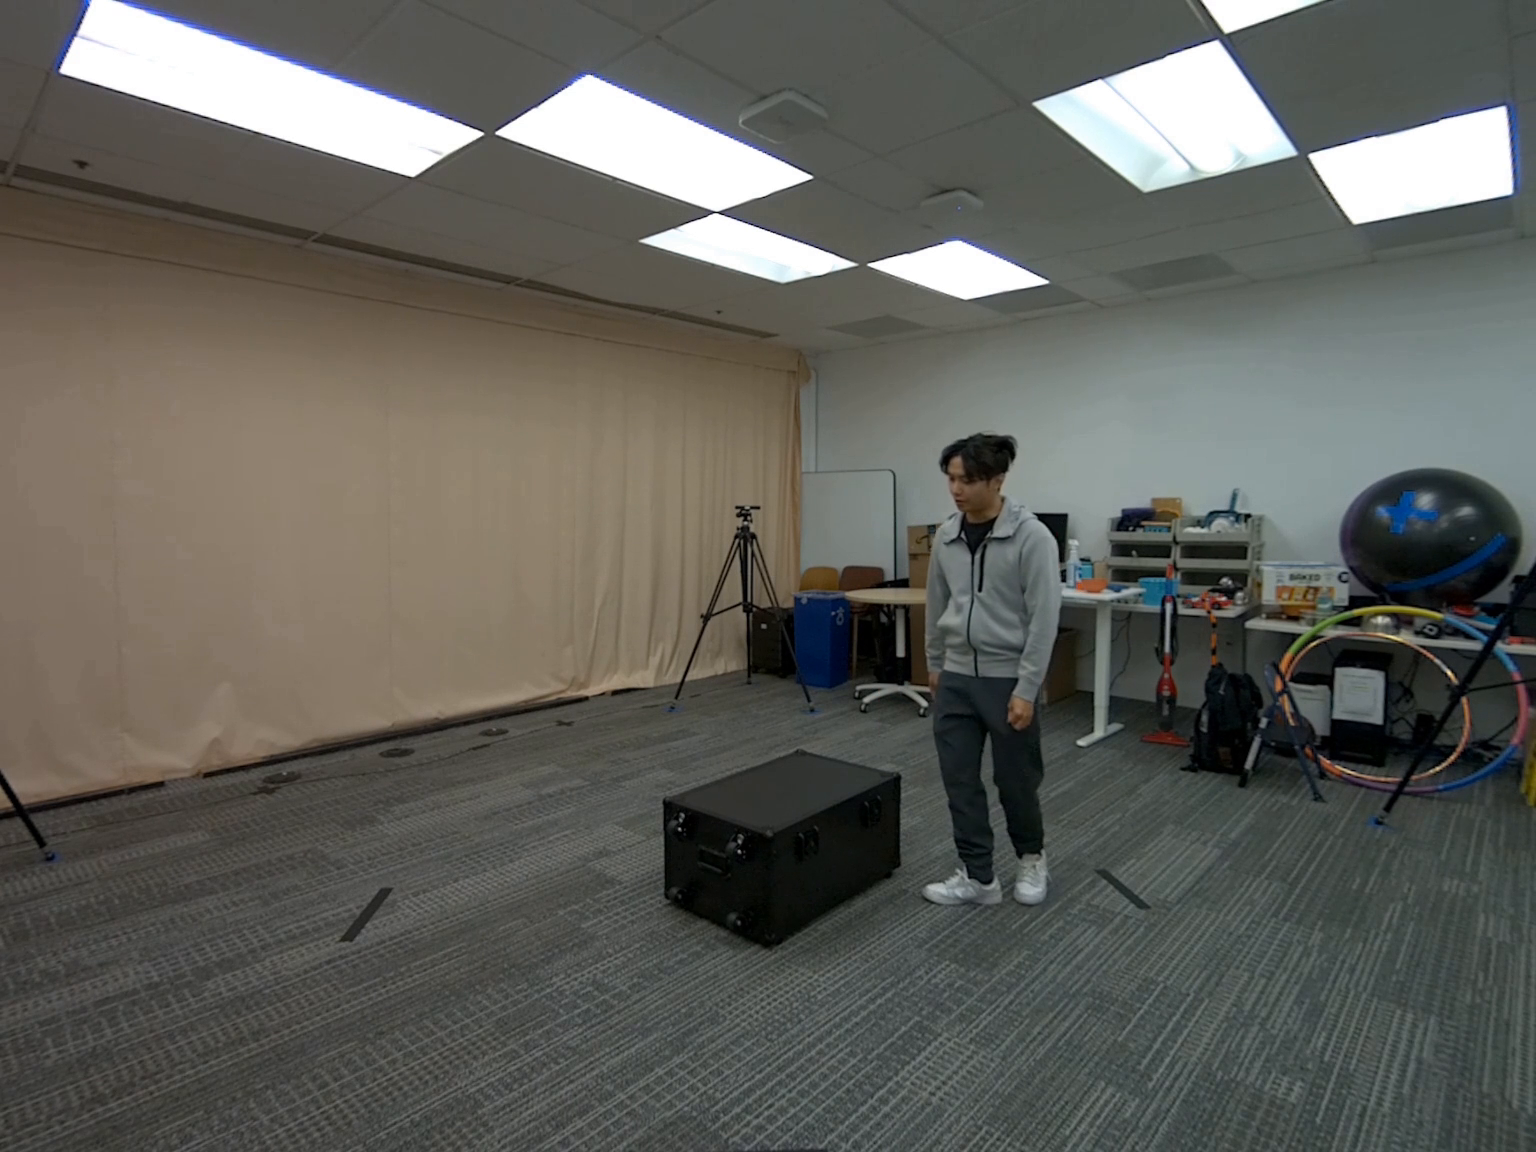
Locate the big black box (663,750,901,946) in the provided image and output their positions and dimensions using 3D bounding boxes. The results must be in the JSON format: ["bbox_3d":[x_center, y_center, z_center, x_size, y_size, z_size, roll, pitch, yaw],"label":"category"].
[{"bbox_3d":[0.050,0.946,3.036,0.538,0.395,0.835,3,5,41],"label":"big black box"}]
